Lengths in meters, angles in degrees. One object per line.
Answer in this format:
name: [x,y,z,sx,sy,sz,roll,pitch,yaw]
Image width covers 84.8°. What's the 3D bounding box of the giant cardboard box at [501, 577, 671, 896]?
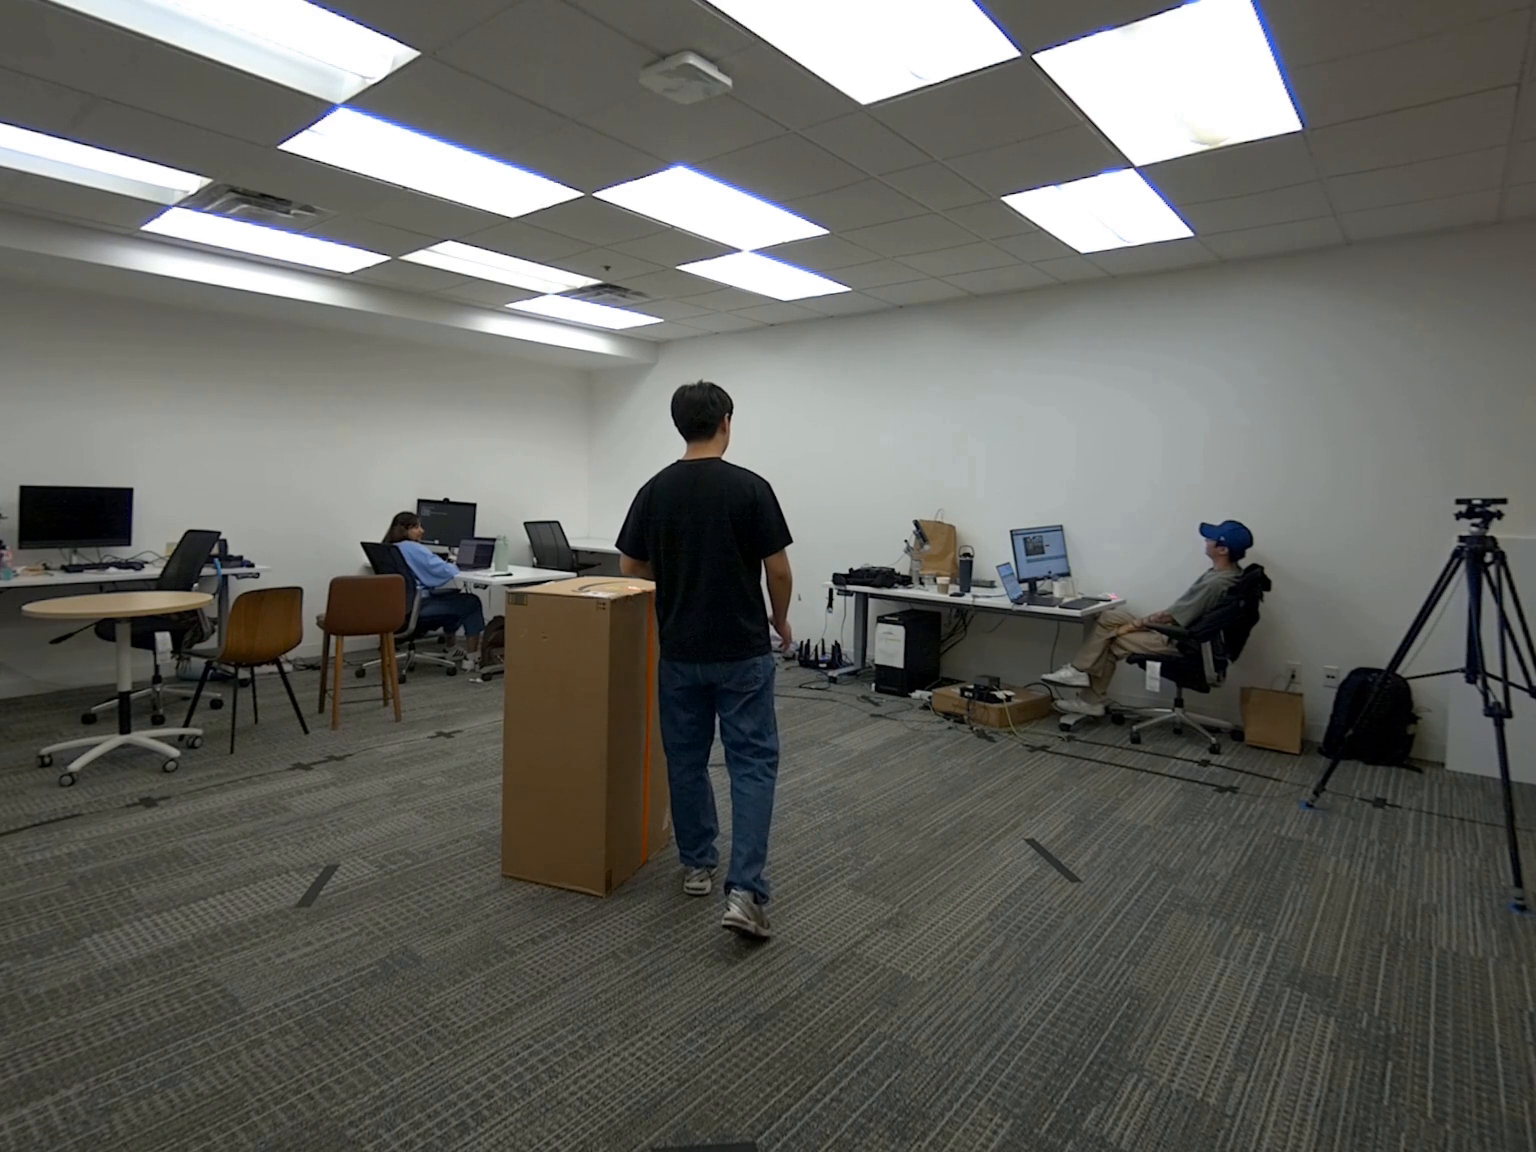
giant cardboard box: [-0.662,0.539,3.194,0.457,1.024,0.573,3,4,20]
